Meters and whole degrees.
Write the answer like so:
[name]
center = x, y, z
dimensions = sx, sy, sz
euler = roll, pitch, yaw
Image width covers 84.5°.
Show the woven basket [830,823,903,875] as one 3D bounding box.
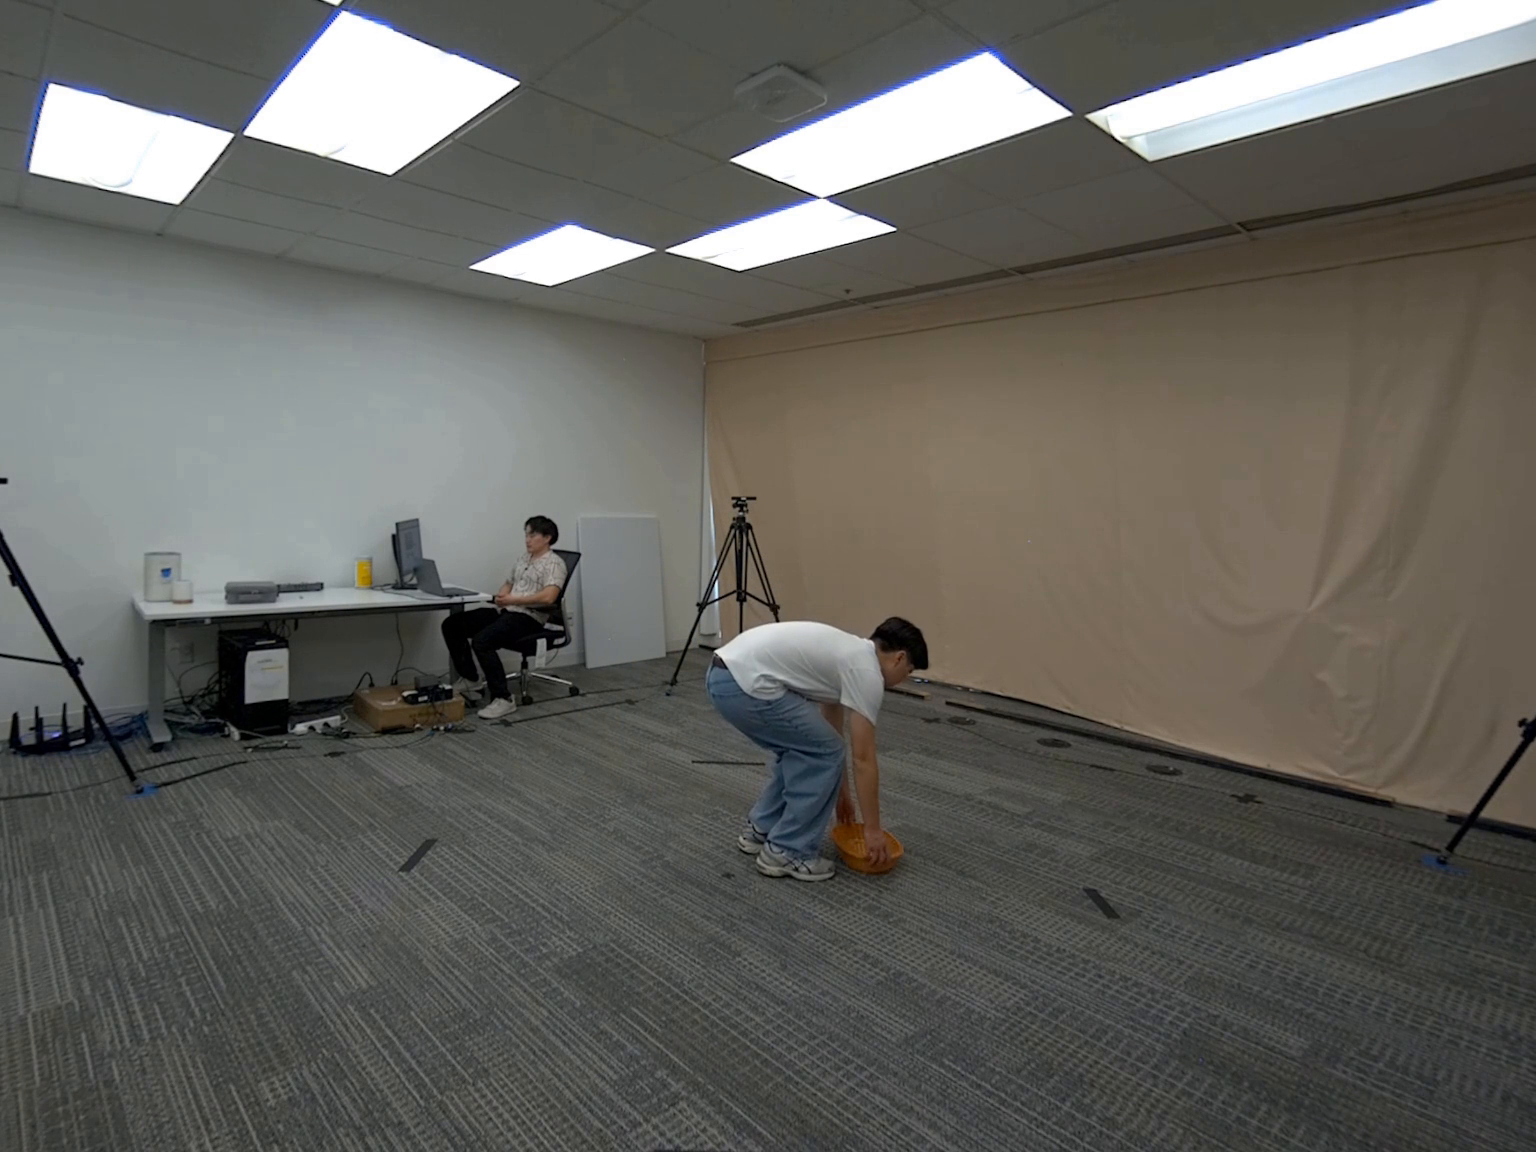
[woven basket]
center = 0.366, 1.034, 3.287
dimensions = 0.250, 0.073, 0.355
euler = -1, 6, -13
